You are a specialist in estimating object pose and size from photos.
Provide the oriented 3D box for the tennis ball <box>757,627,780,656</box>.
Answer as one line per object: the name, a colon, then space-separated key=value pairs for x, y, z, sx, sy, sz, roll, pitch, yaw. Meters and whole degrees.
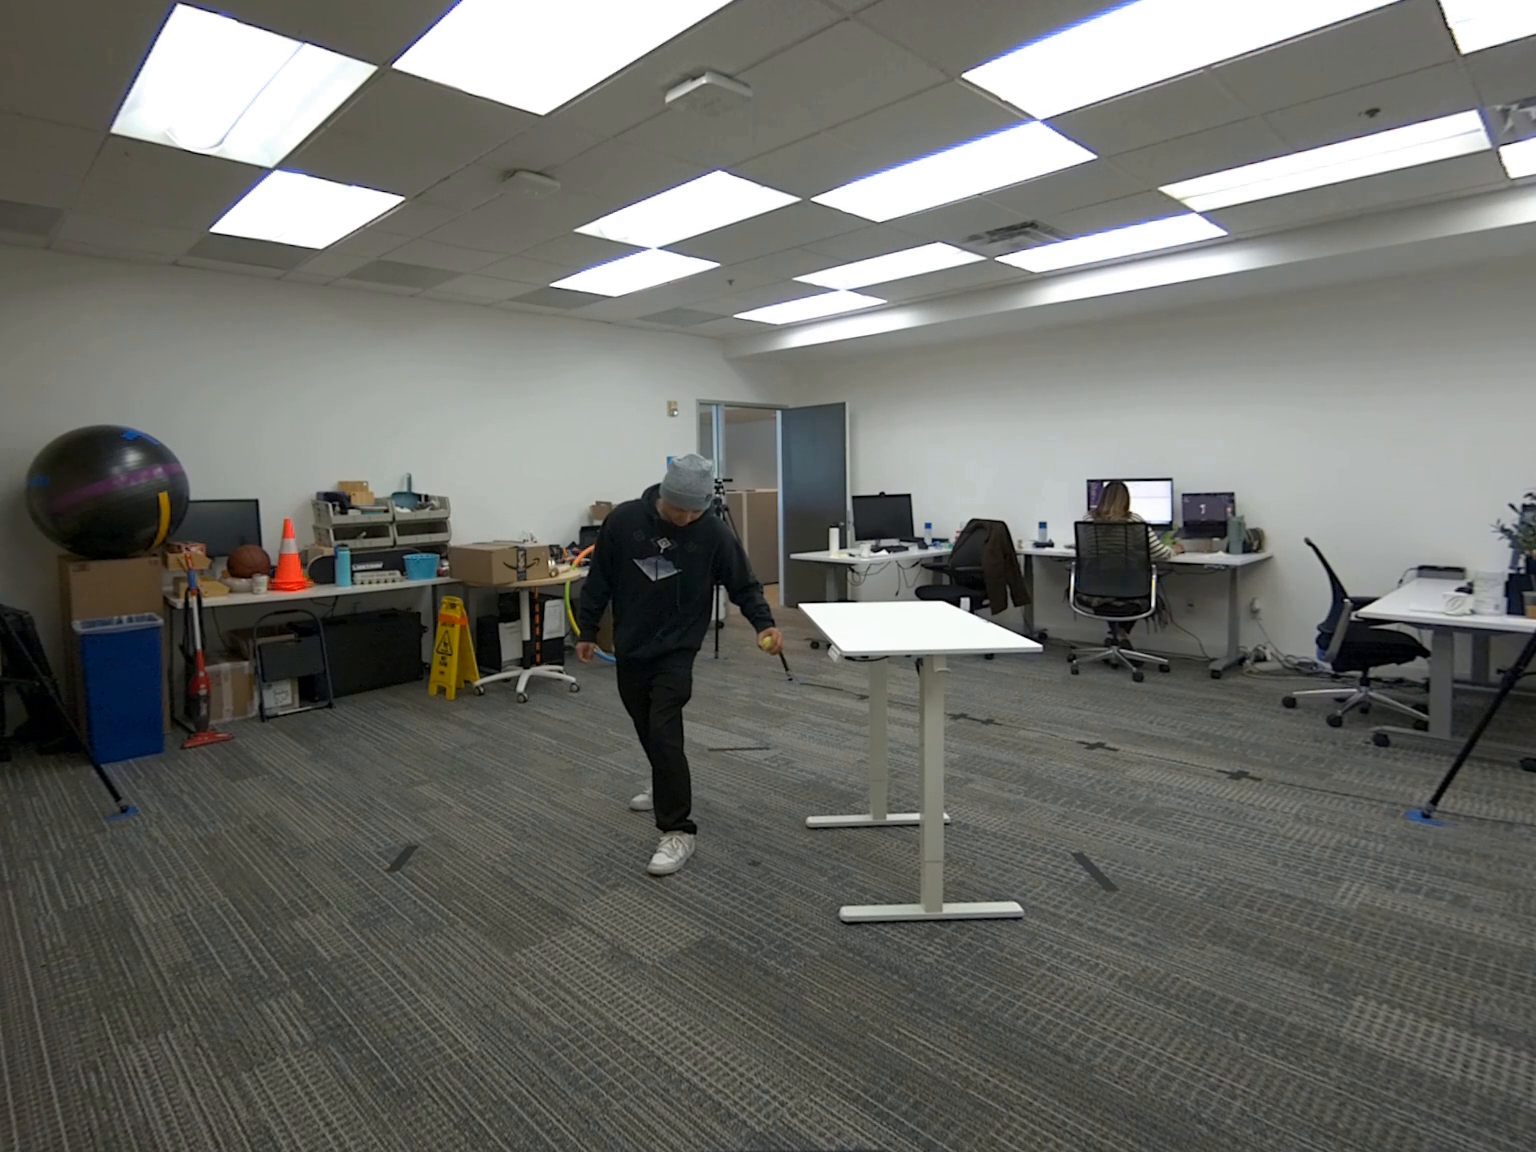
tennis ball: x=-0.021 y=0.234 z=3.220 sx=0.066 sy=0.066 sz=0.067 roll=-1 pitch=5 yaw=-2
